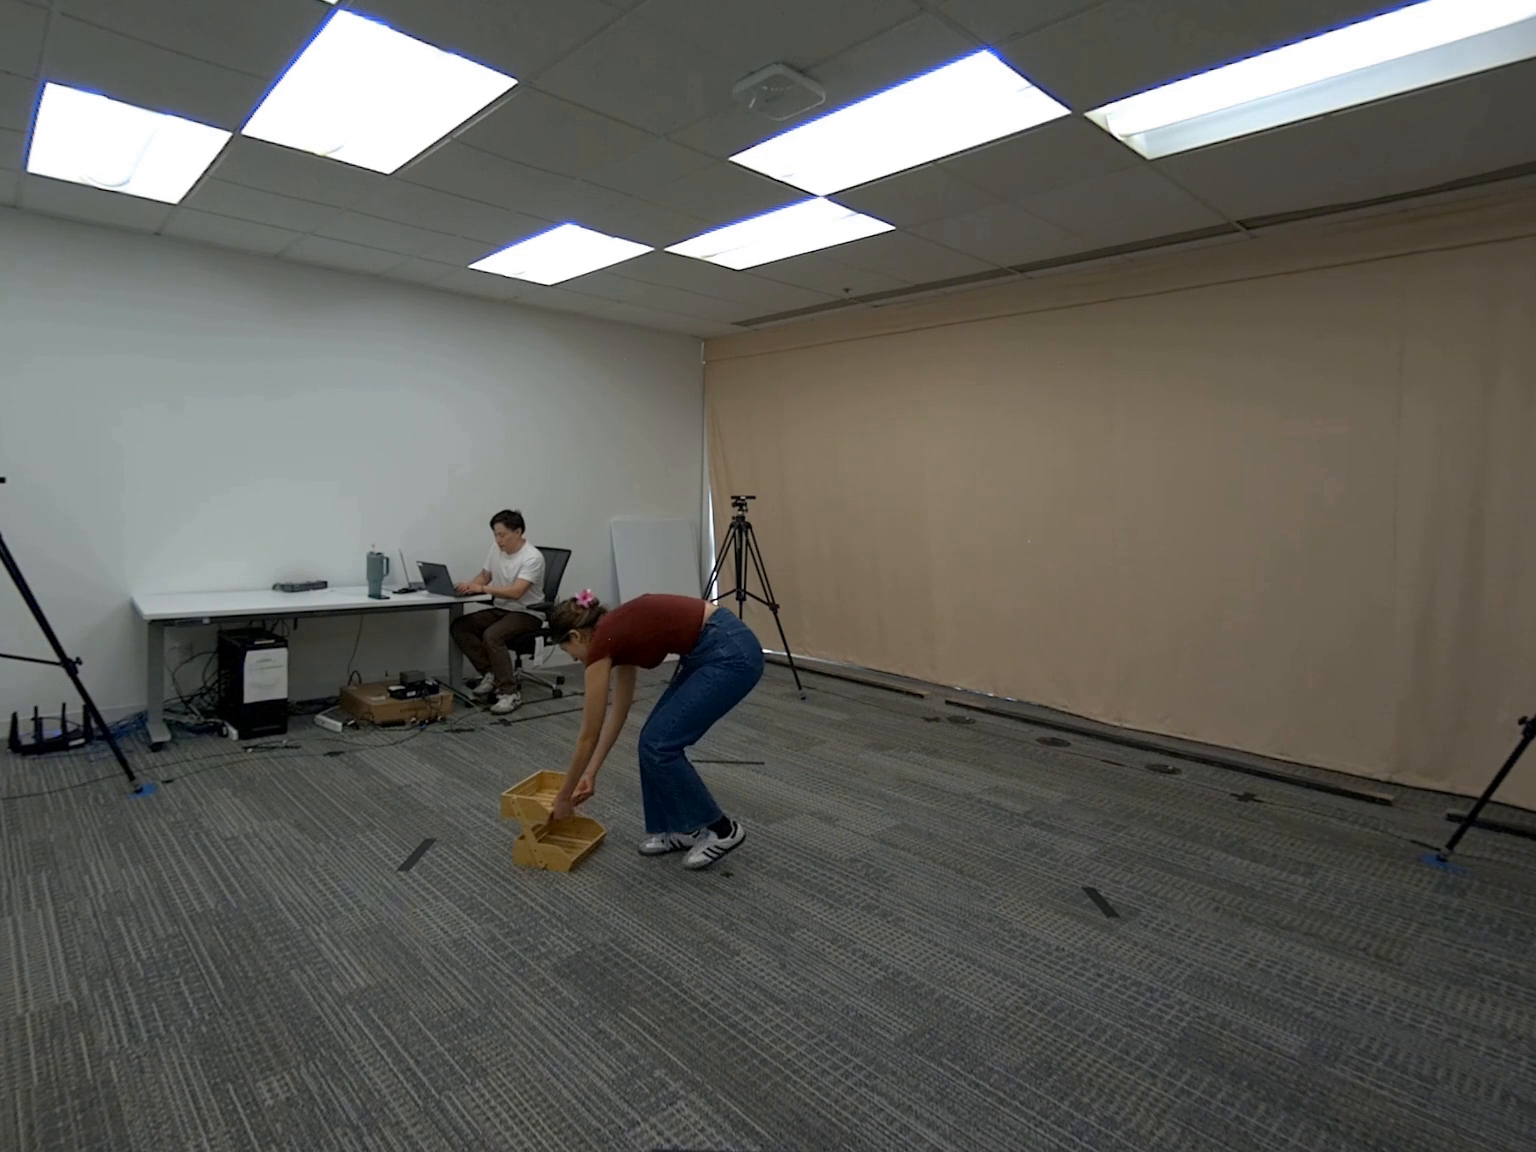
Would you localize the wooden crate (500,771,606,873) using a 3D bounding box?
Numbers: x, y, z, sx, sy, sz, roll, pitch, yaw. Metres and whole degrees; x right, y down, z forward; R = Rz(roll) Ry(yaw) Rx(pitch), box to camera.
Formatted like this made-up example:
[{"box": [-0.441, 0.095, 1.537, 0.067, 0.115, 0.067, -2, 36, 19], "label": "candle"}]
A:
[{"box": [-0.819, 0.936, 3.267, 0.306, 0.272, 0.321, 2, 5, 14], "label": "wooden crate"}]
